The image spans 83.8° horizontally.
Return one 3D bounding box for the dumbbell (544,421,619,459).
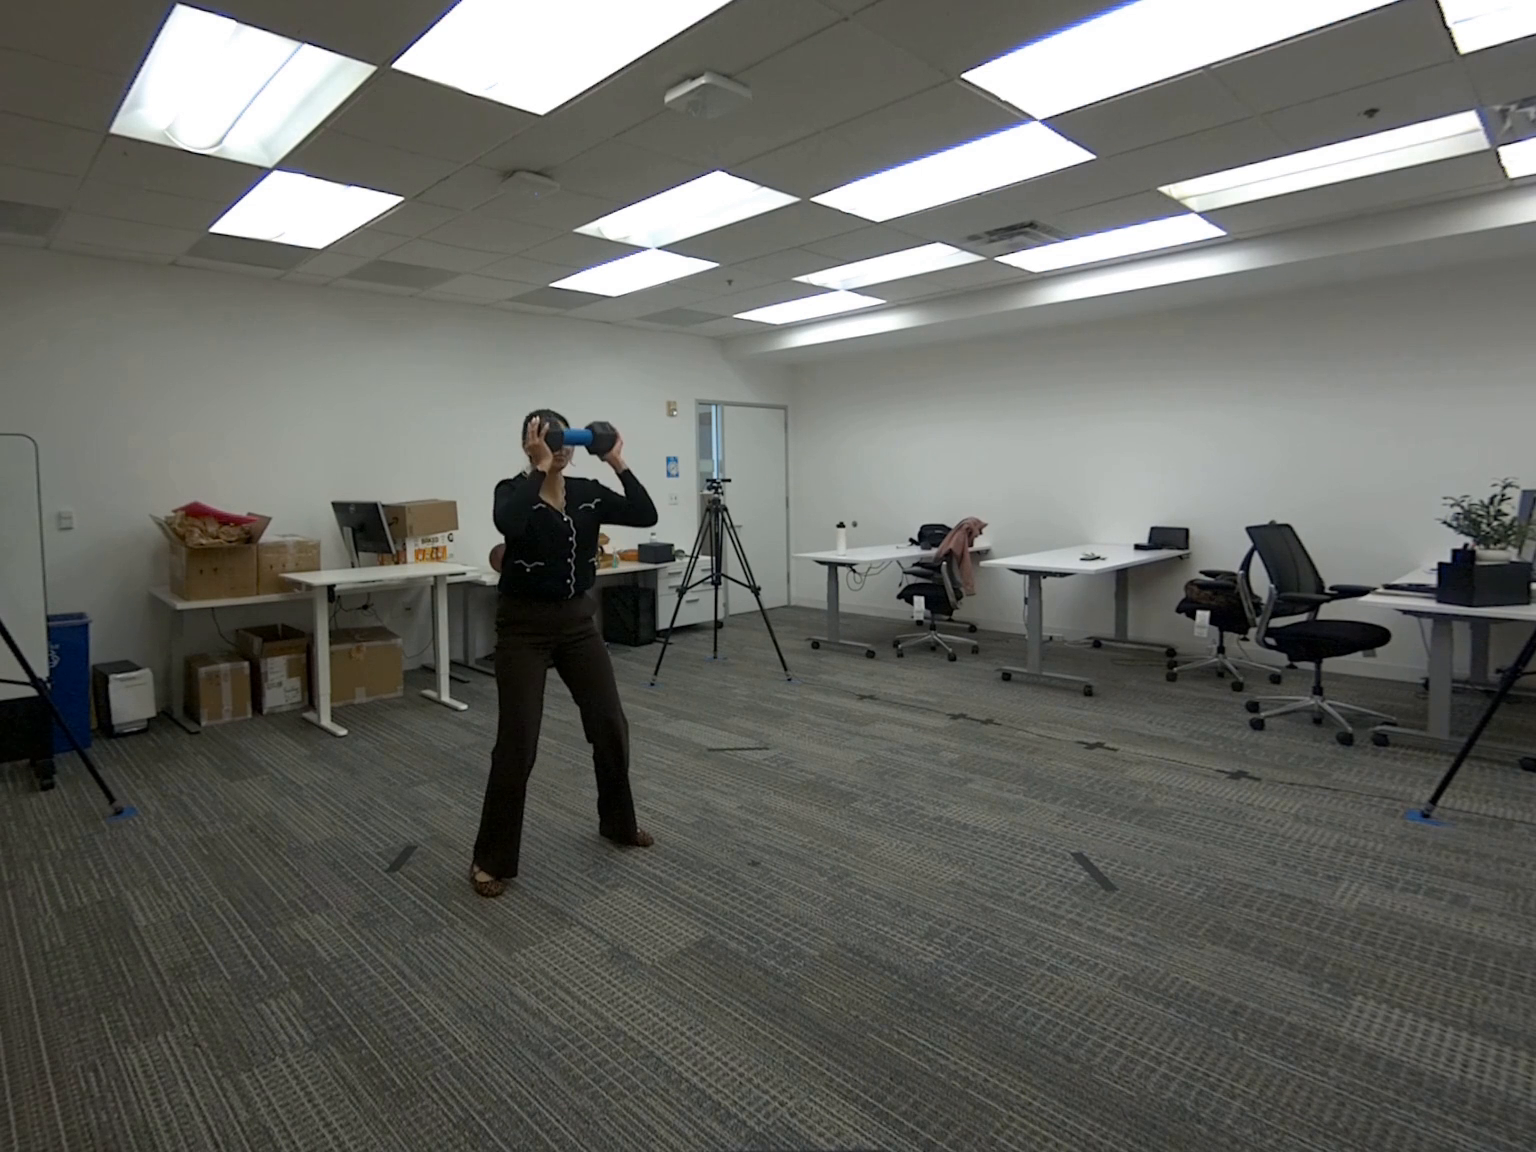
[{"bbox_3d":[-0.678,-0.475,2.959,0.286,0.108,0.127,-6,50,-42],"label":"dumbbell"}]
